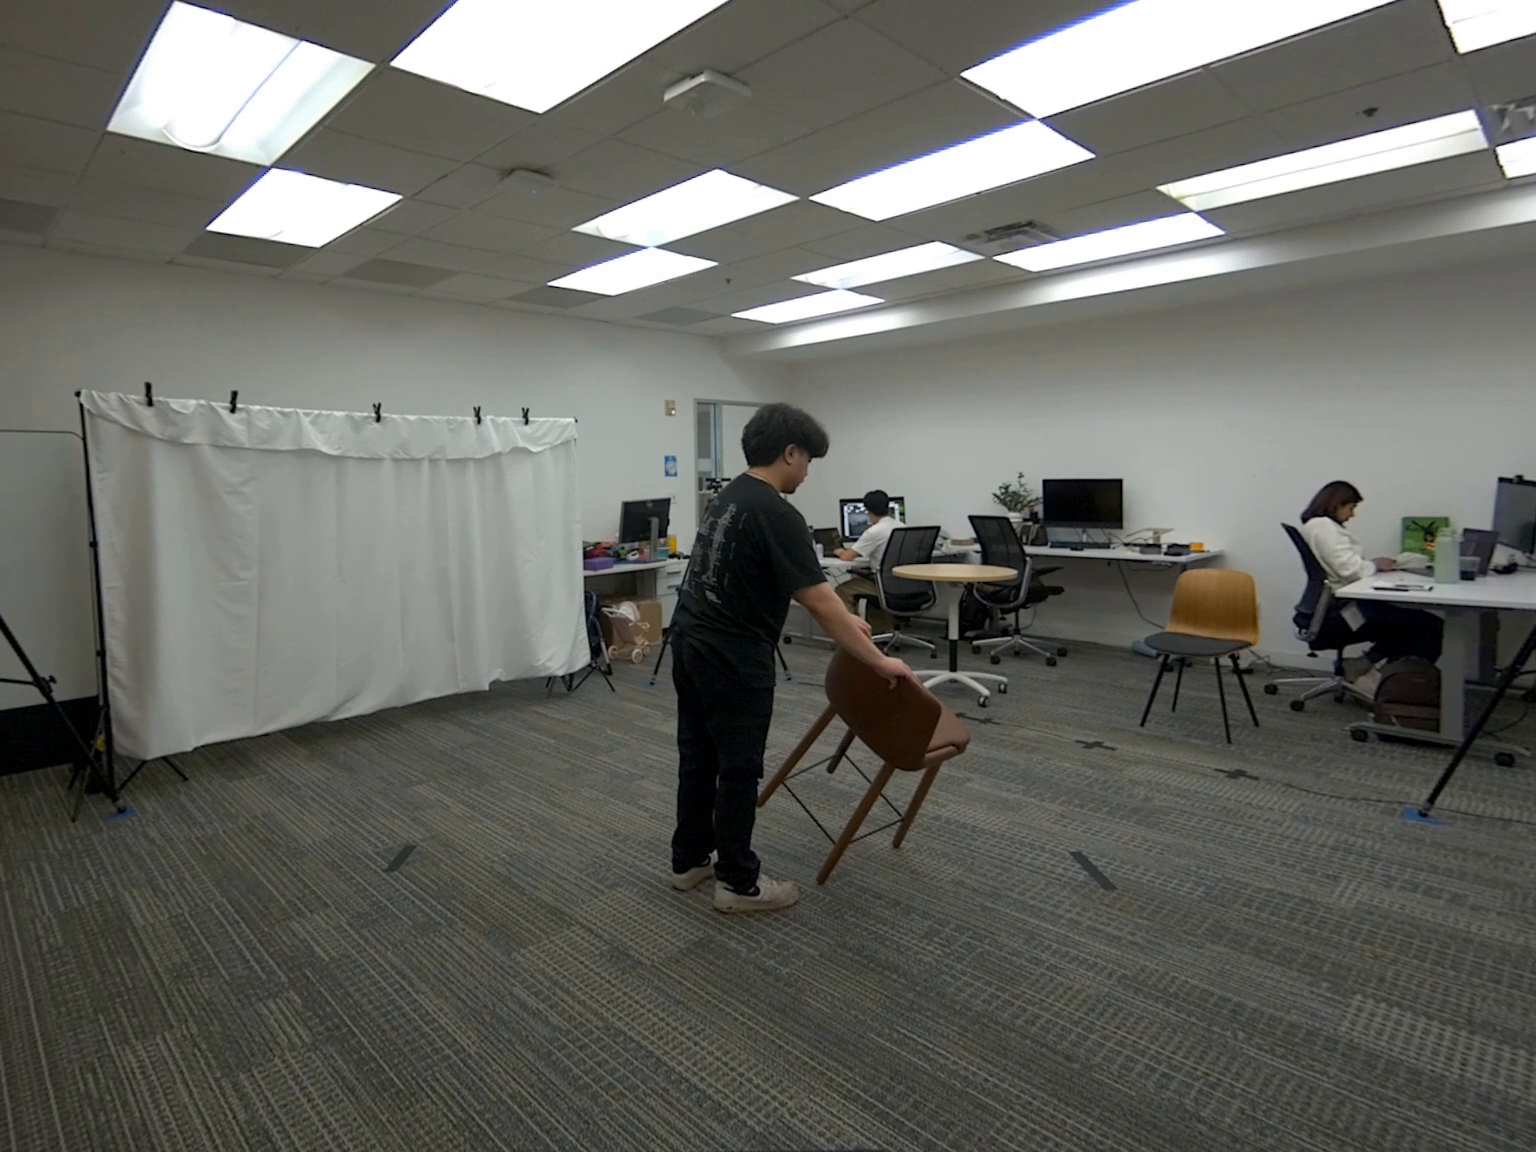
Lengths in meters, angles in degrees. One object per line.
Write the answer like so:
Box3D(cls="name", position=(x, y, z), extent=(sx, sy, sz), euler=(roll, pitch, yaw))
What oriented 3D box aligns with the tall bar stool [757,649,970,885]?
Box3D(cls="tall bar stool", position=(0.378, 0.580, 2.979), extent=(0.456, 0.879, 0.473), euler=(-9, 42, -43))
